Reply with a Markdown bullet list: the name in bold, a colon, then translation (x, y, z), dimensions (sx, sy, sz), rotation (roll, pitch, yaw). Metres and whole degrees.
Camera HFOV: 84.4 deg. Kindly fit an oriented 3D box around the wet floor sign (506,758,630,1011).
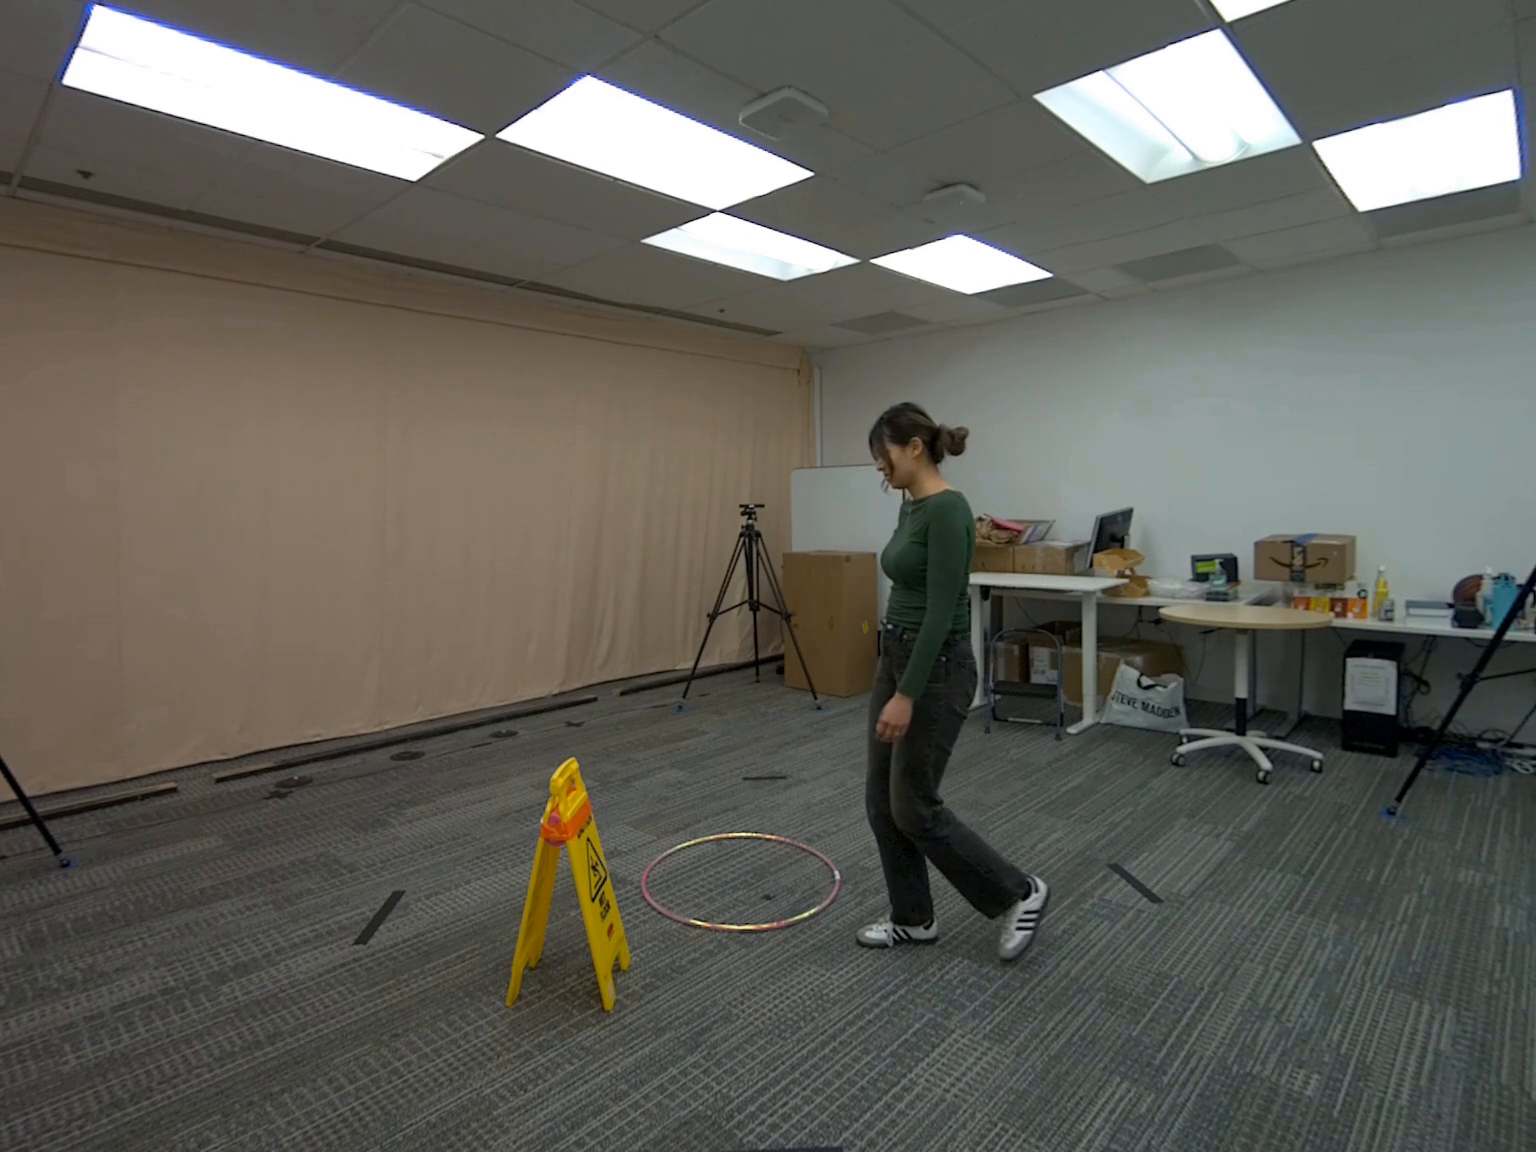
- **wet floor sign**: translation (-0.583, 0.878, 2.459), dimensions (0.291, 0.645, 0.281), rotation (-1, 2, 5)
